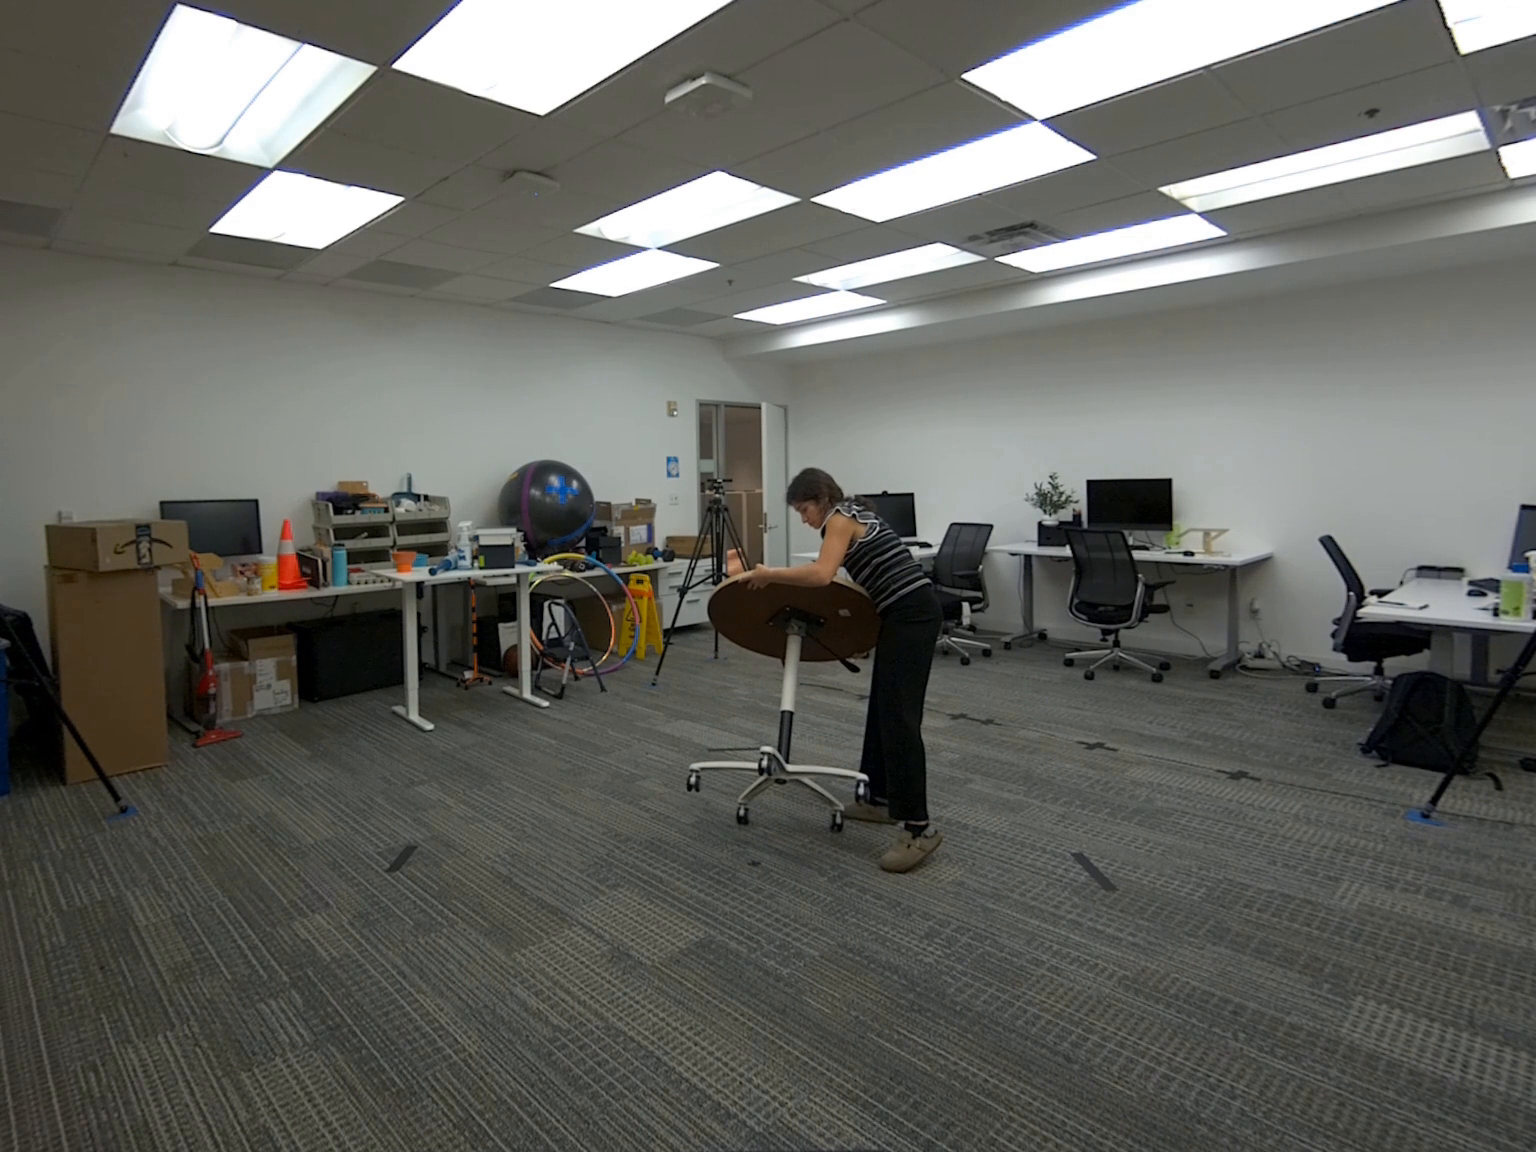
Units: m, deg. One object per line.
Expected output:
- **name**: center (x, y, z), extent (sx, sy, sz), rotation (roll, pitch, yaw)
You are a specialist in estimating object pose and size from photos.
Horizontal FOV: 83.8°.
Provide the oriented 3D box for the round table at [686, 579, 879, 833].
- **round table**: center (0.084, 0.505, 3.393), extent (0.788, 0.803, 0.766), rotation (6, -32, 2)
